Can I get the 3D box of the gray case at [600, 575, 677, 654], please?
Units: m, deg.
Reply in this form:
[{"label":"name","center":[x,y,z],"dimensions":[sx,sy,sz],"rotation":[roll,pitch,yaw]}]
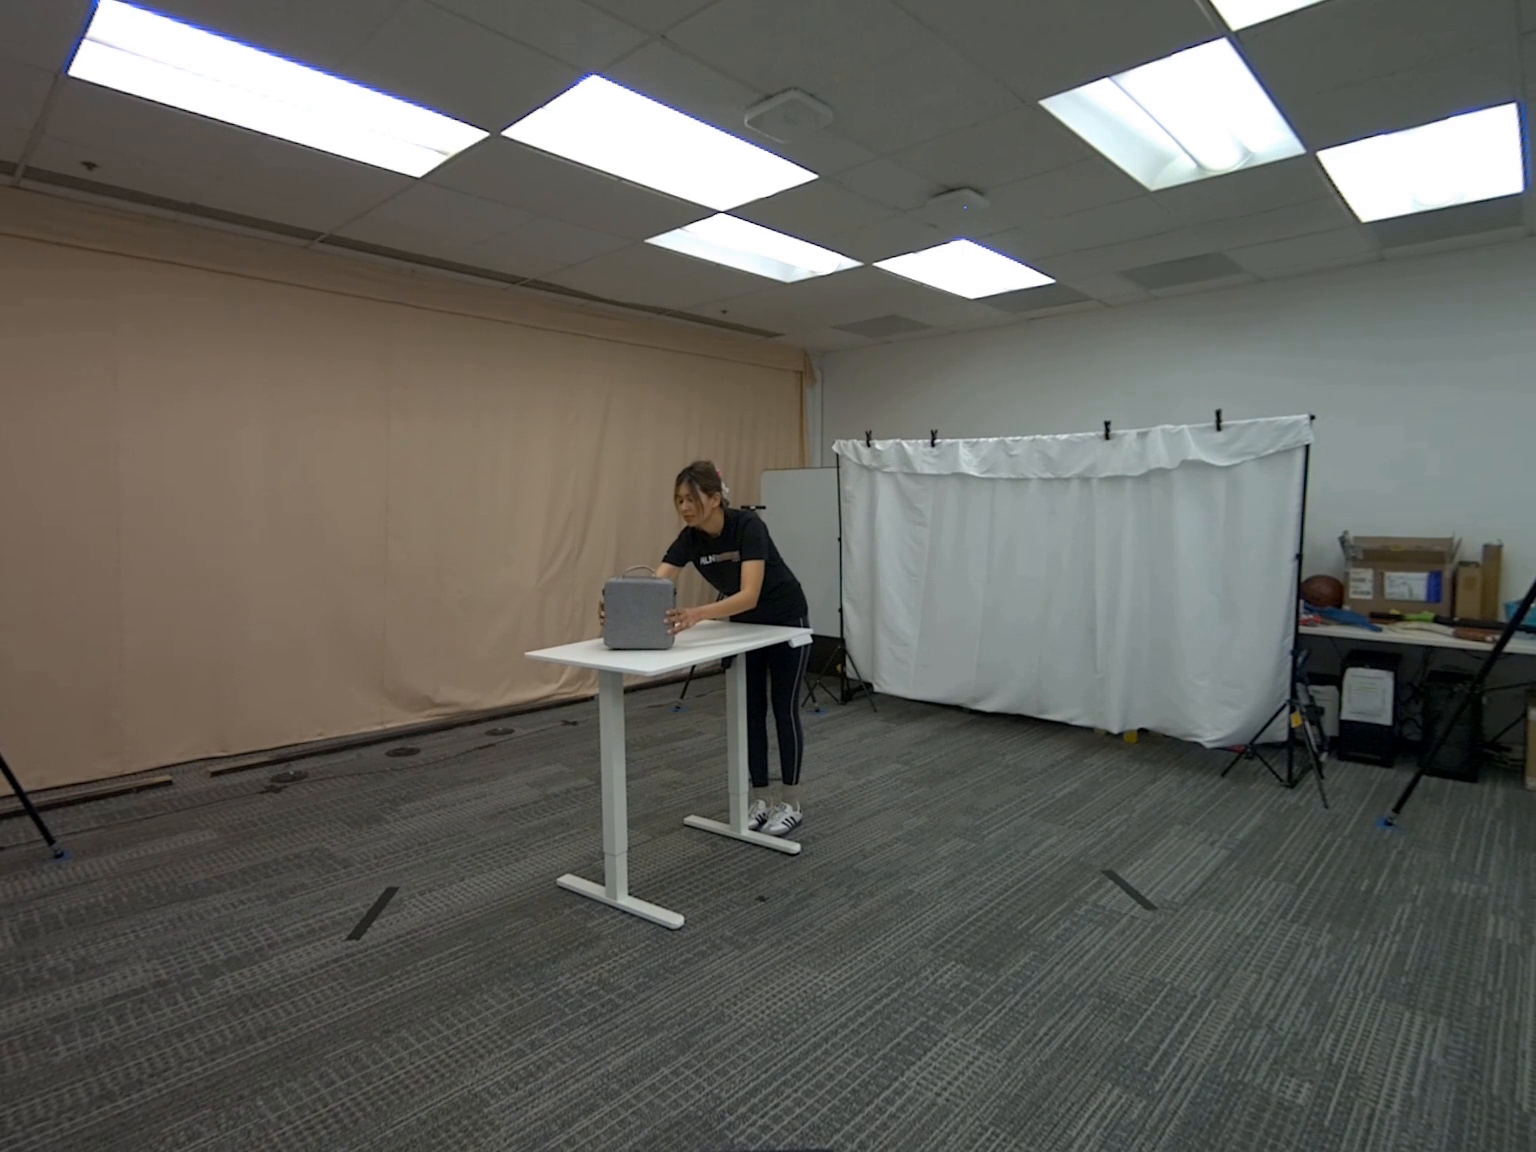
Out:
[{"label":"gray case","center":[-0.461,0.133,3.017],"dimensions":[0.257,0.260,0.104],"rotation":[-1,2,-1]}]
